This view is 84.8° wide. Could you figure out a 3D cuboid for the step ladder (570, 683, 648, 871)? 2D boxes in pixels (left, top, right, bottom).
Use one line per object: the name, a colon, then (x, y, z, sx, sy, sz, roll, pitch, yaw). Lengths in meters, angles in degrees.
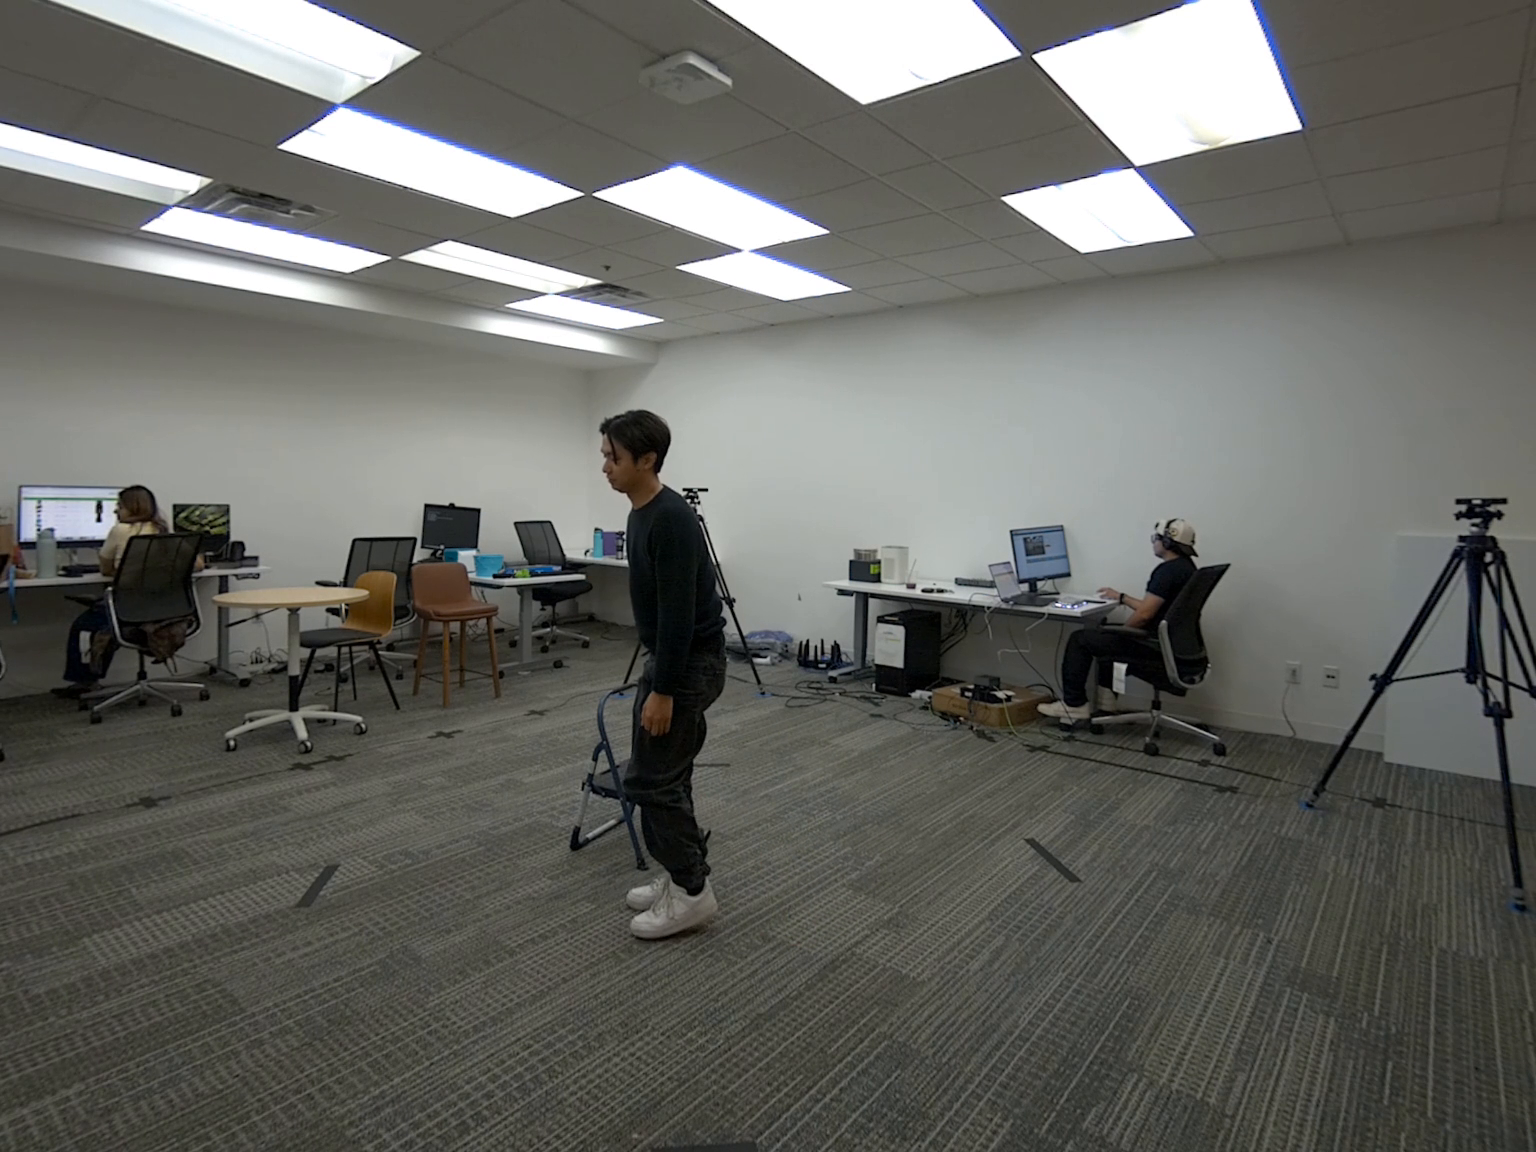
step ladder: (-0.525, 0.738, 3.343, 0.358, 0.605, 0.420, 3, 3, 25)
